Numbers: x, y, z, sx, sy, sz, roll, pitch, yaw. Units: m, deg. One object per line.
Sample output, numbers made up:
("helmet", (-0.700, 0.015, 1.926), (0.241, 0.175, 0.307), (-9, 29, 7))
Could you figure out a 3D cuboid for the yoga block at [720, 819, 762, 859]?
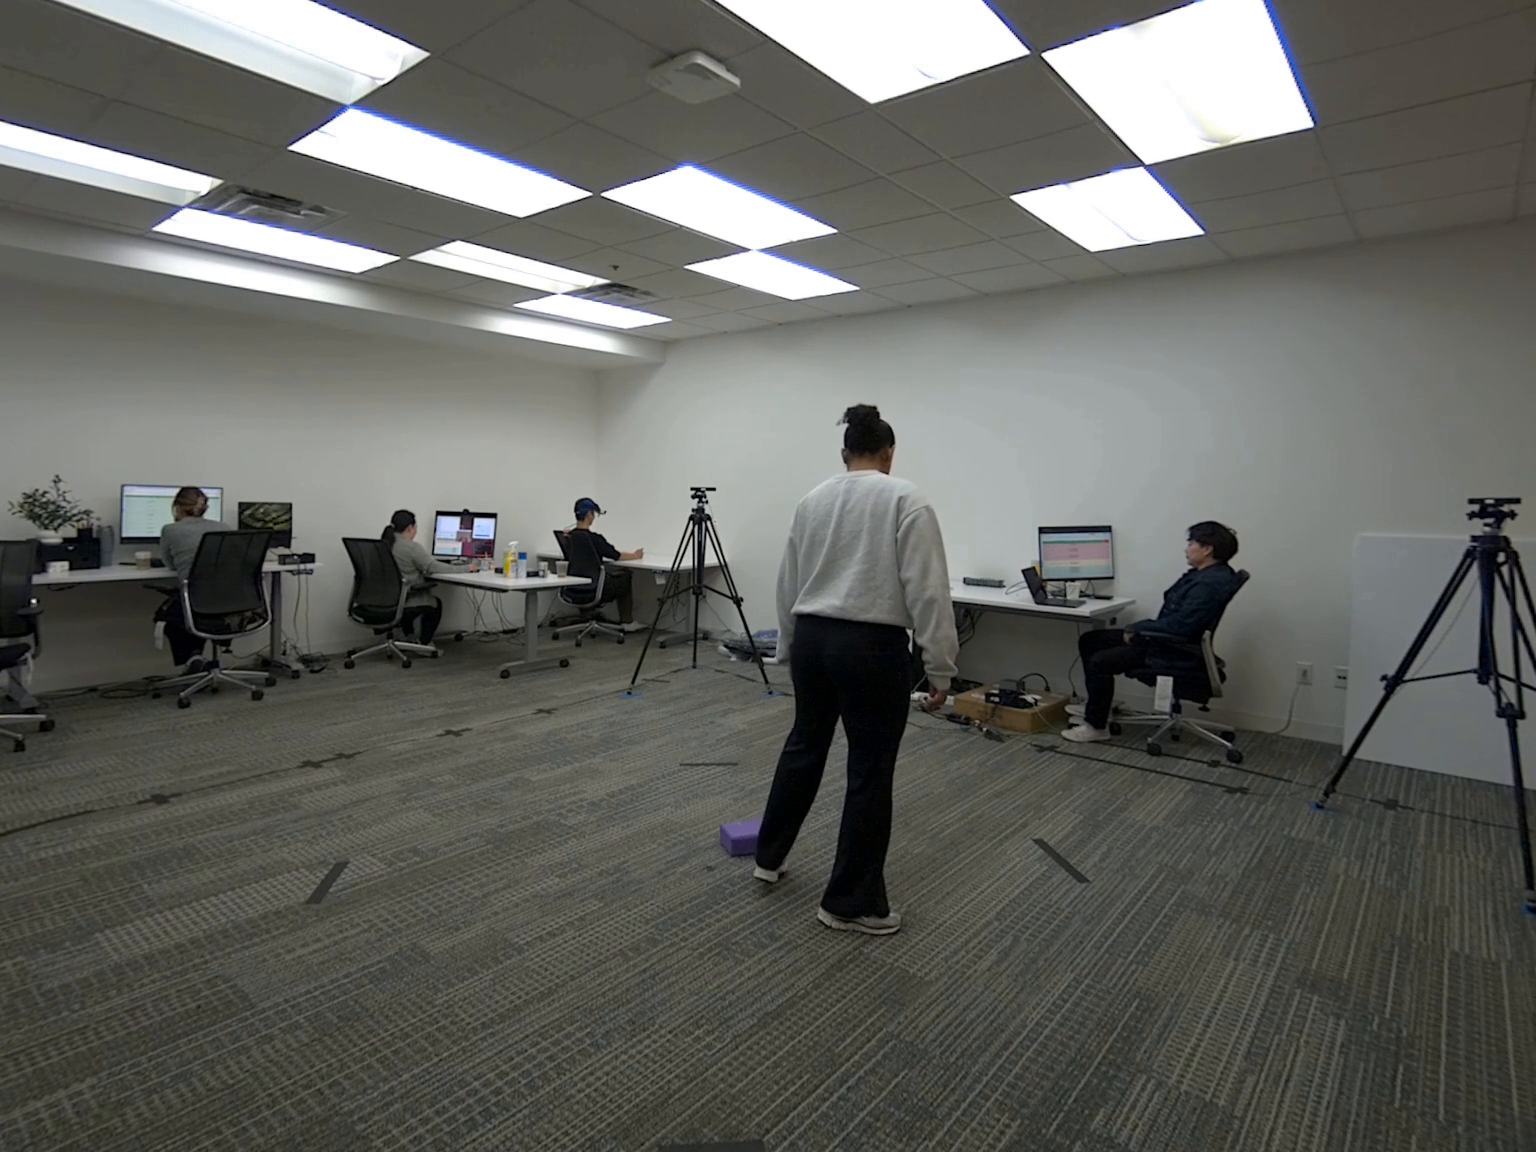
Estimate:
("yoga block", (-0.059, 1.007, 3.301), (0.225, 0.076, 0.152), (-3, 6, -20))
